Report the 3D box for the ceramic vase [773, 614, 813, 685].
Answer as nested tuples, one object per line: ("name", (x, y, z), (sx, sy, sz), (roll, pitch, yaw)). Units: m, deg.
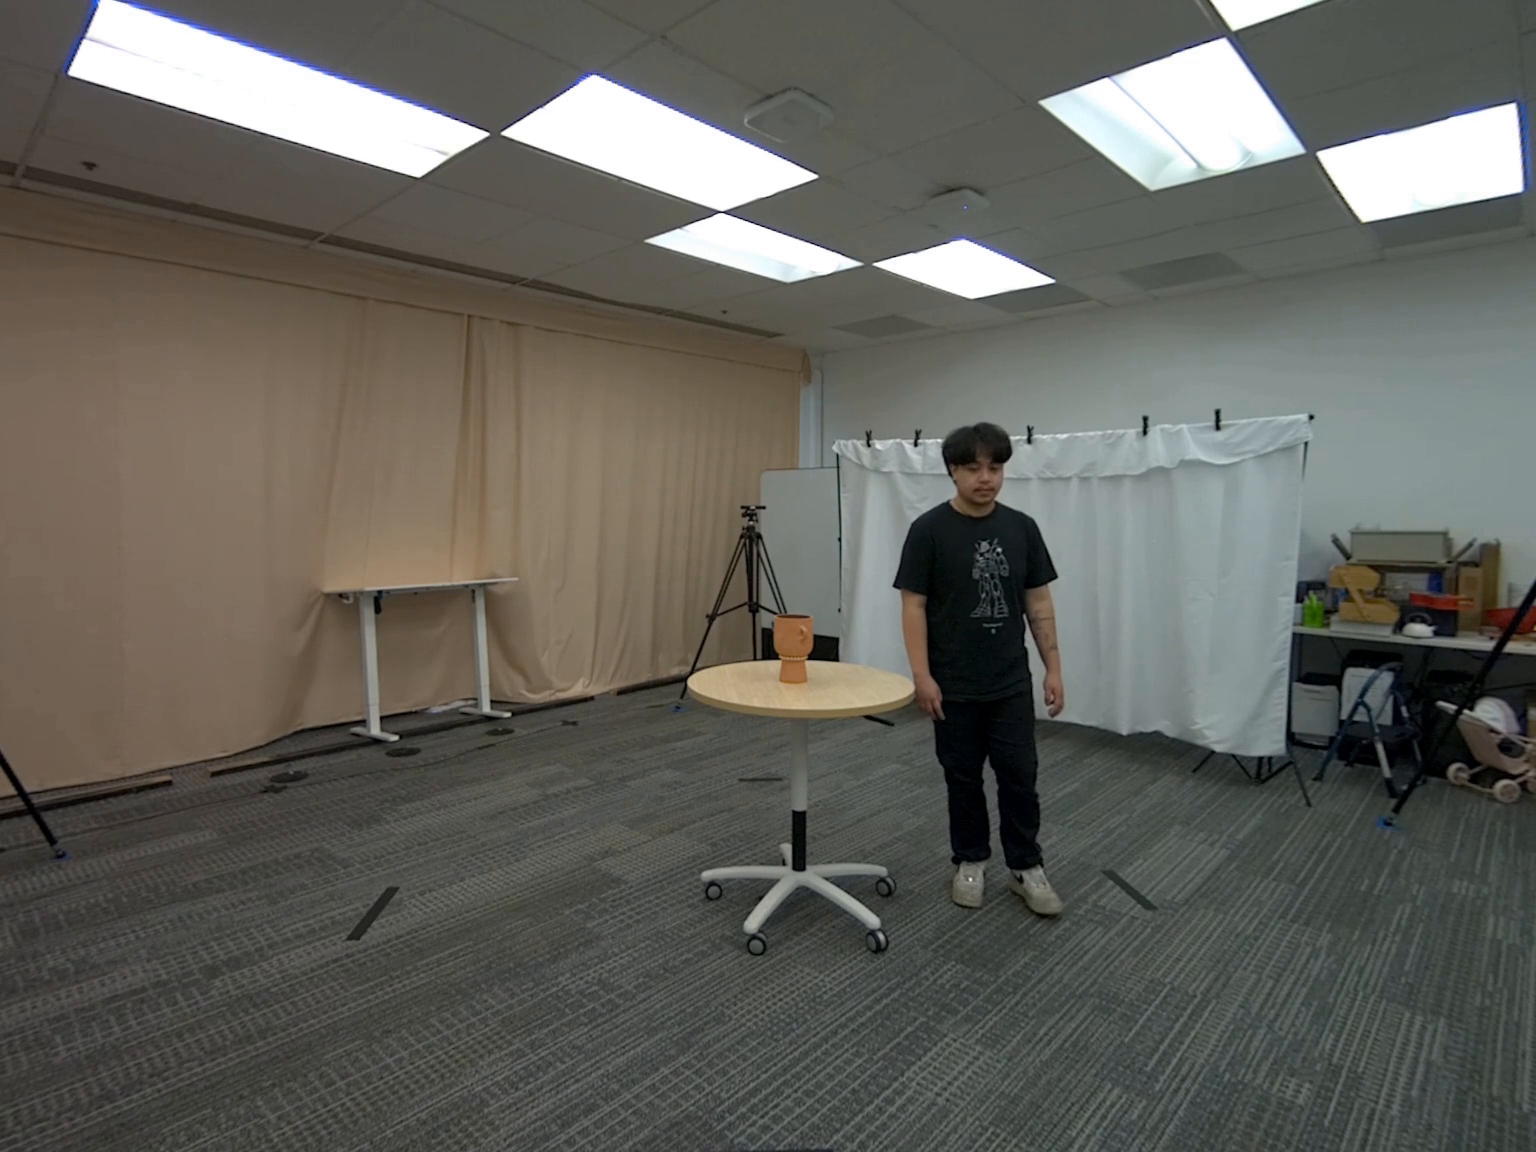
("ceramic vase", (0.094, 0.251, 2.879), (0.137, 0.219, 0.156), (1, 4, 16))
